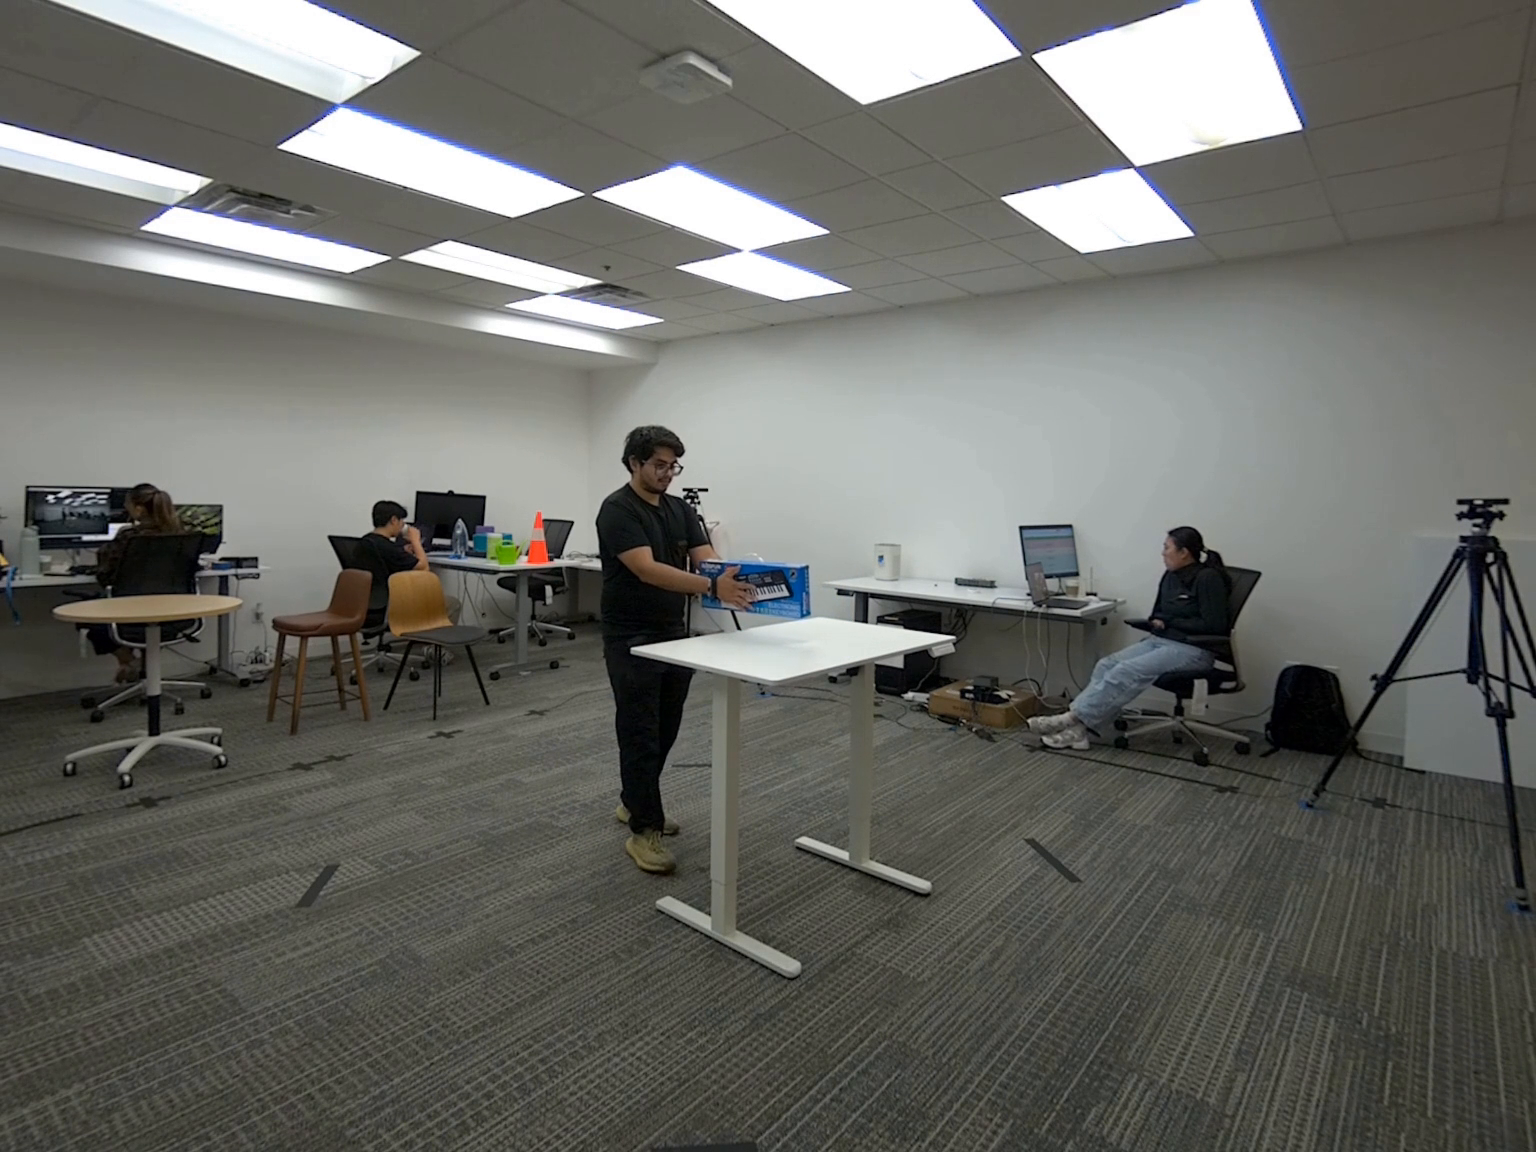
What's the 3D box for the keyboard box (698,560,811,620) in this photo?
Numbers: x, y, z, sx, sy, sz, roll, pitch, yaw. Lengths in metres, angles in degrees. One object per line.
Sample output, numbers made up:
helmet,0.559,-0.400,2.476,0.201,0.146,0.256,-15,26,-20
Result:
keyboard box,-0.056,0.039,2.952,0.451,0.175,0.057,3,8,38
